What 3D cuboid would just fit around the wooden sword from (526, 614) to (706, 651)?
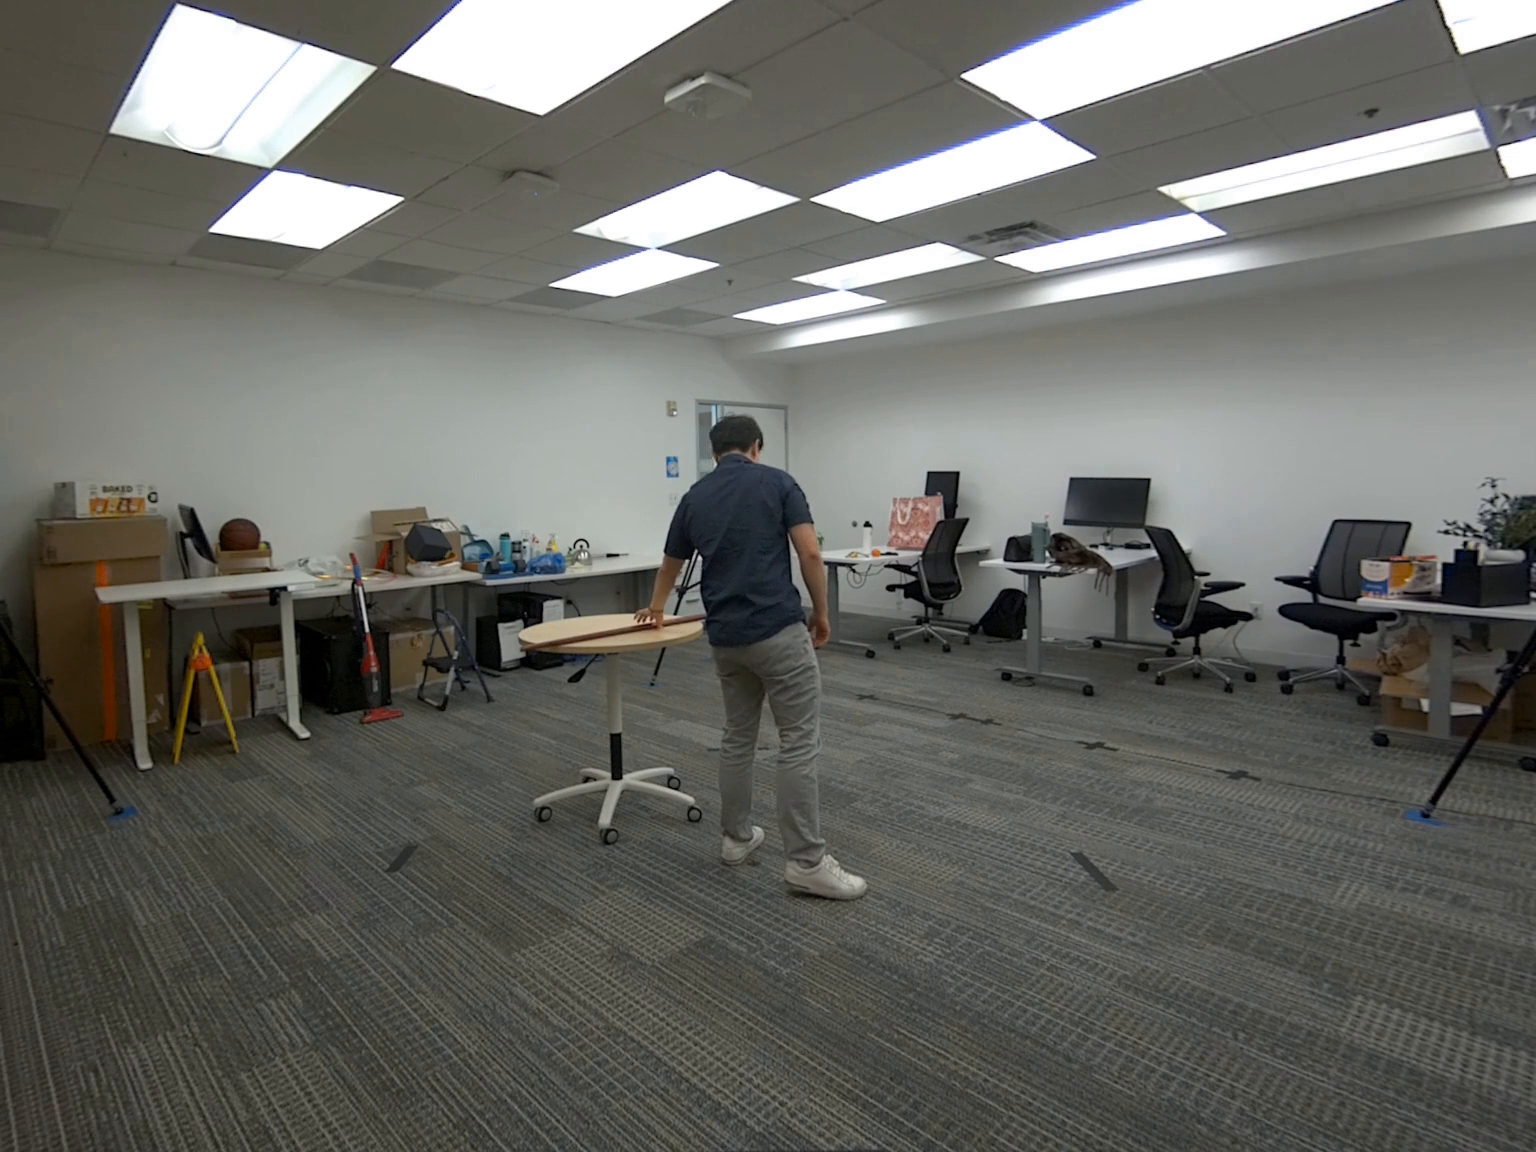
[{"bbox_3d":[-0.533,0.210,3.524,0.998,0.051,0.024,-7,-3,-43],"label":"wooden sword"}]
